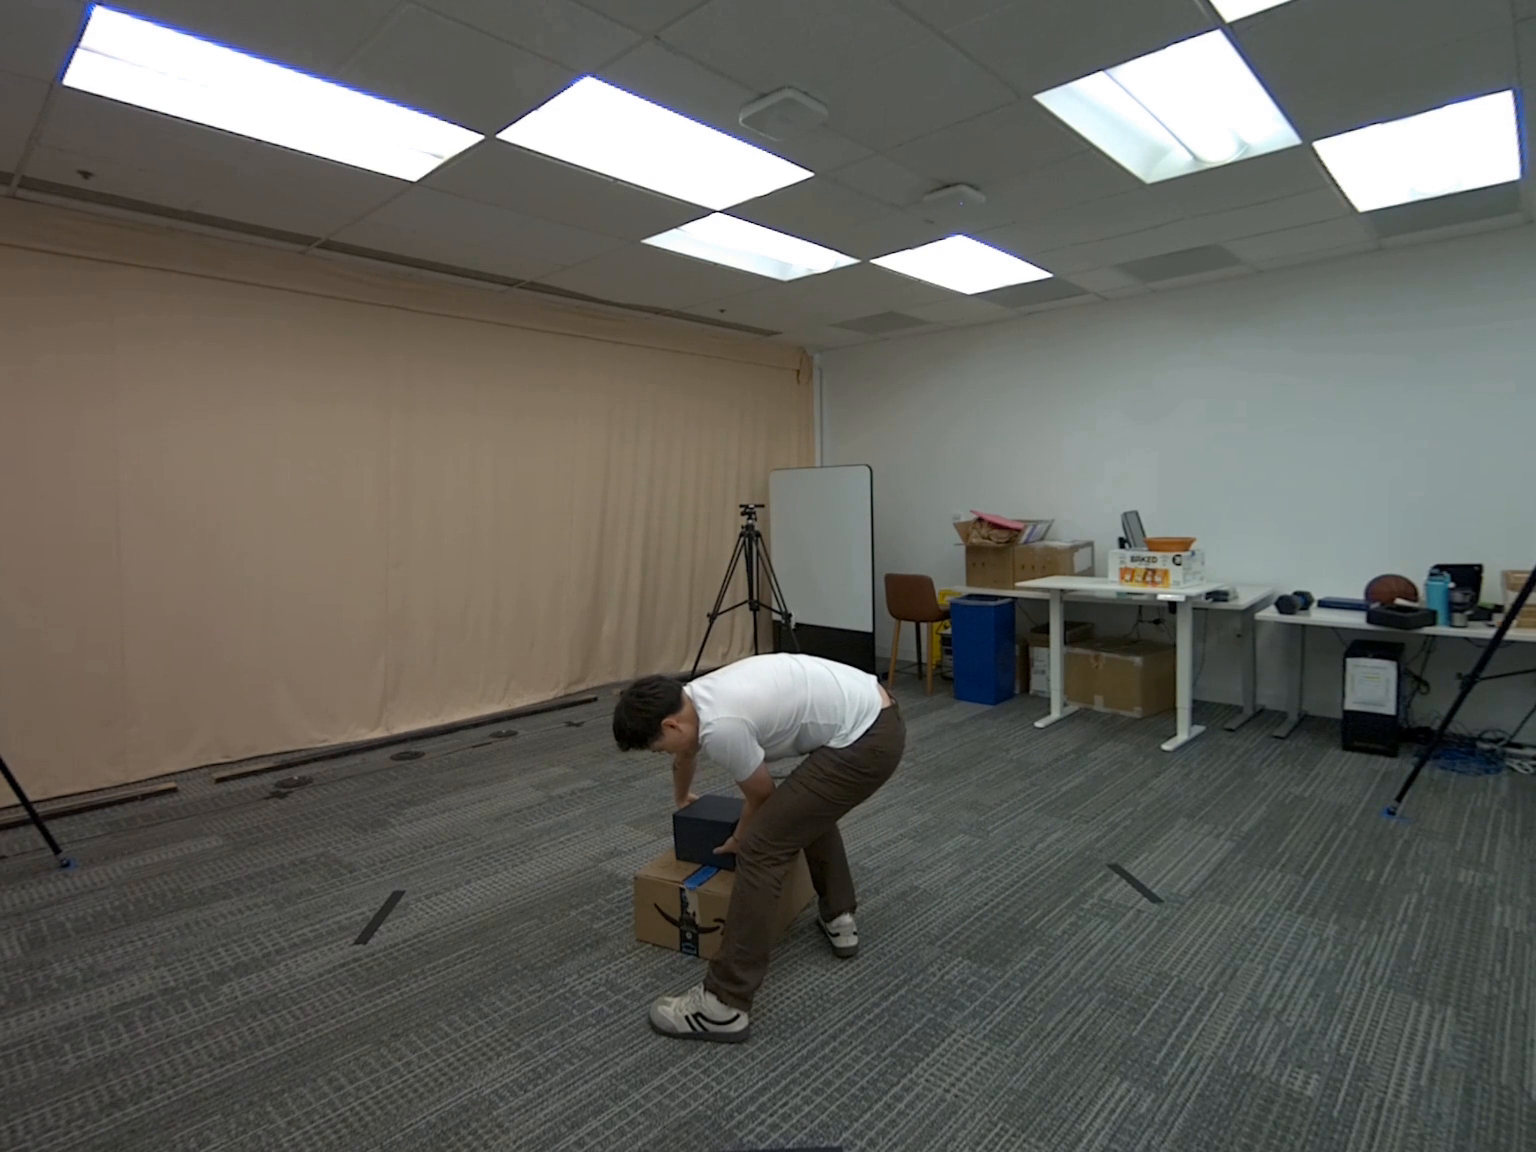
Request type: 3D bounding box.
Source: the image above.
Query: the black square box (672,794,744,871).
[{"bbox_3d":[-0.156,0.854,2.831,0.234,0.155,0.212,-2,3,28],"label":"black square box"}]
